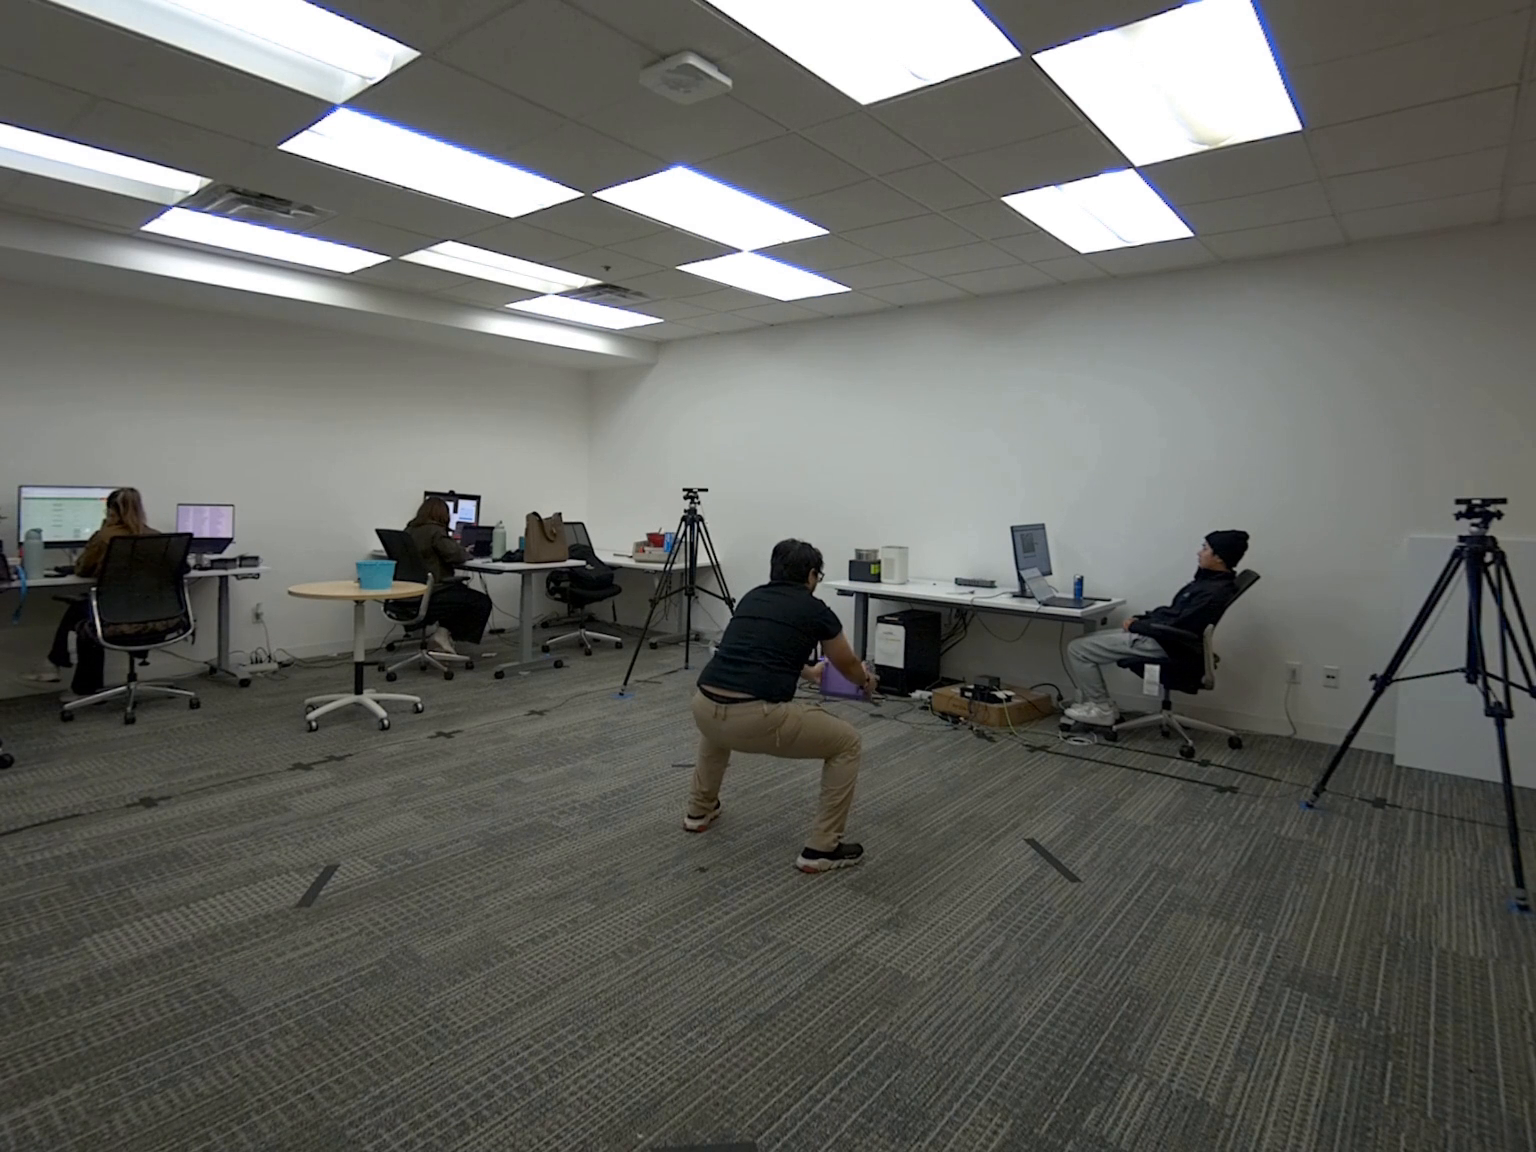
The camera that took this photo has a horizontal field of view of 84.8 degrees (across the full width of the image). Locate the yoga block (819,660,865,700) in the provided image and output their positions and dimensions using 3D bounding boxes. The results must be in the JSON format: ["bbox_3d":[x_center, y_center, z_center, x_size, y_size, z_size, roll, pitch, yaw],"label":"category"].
[{"bbox_3d":[0.340,0.462,3.818,0.236,0.150,0.073,1,-17,38],"label":"yoga block"}]
